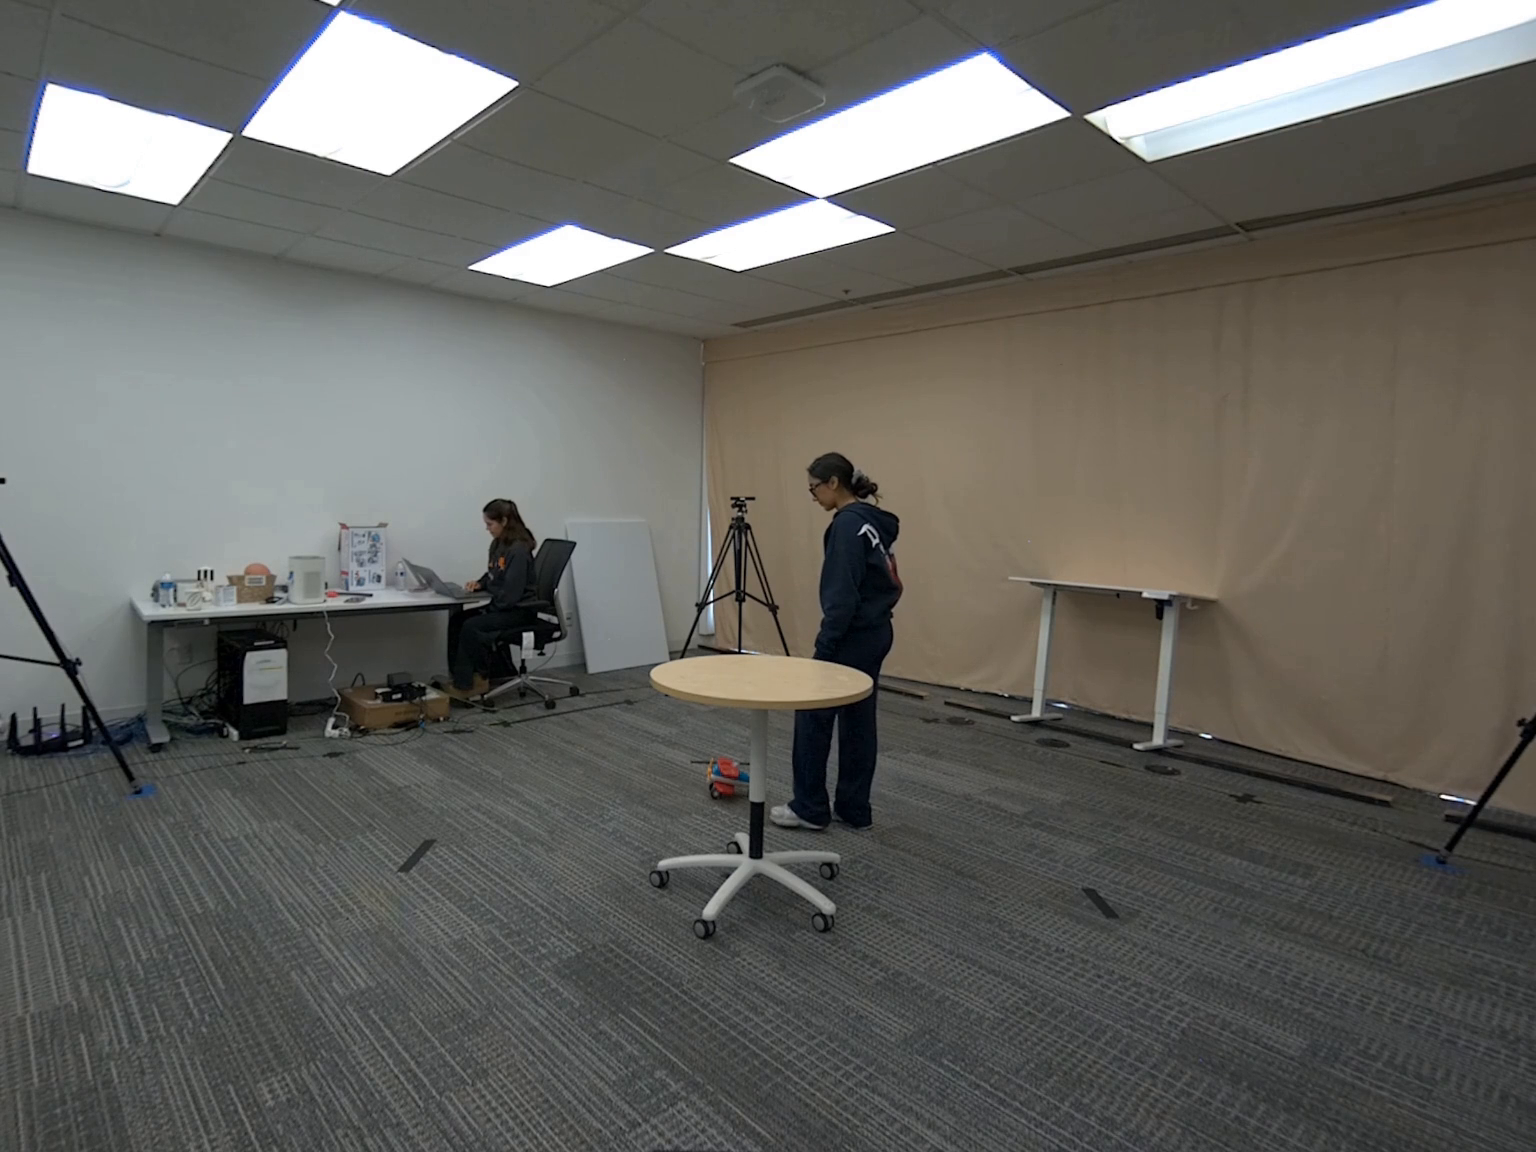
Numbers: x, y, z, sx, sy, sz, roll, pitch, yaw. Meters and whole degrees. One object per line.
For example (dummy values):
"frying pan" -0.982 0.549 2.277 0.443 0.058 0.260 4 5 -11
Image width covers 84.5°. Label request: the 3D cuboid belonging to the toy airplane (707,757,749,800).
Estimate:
"toy airplane" -0.181 0.955 3.980 0.253 0.156 0.257 -3 8 -36
